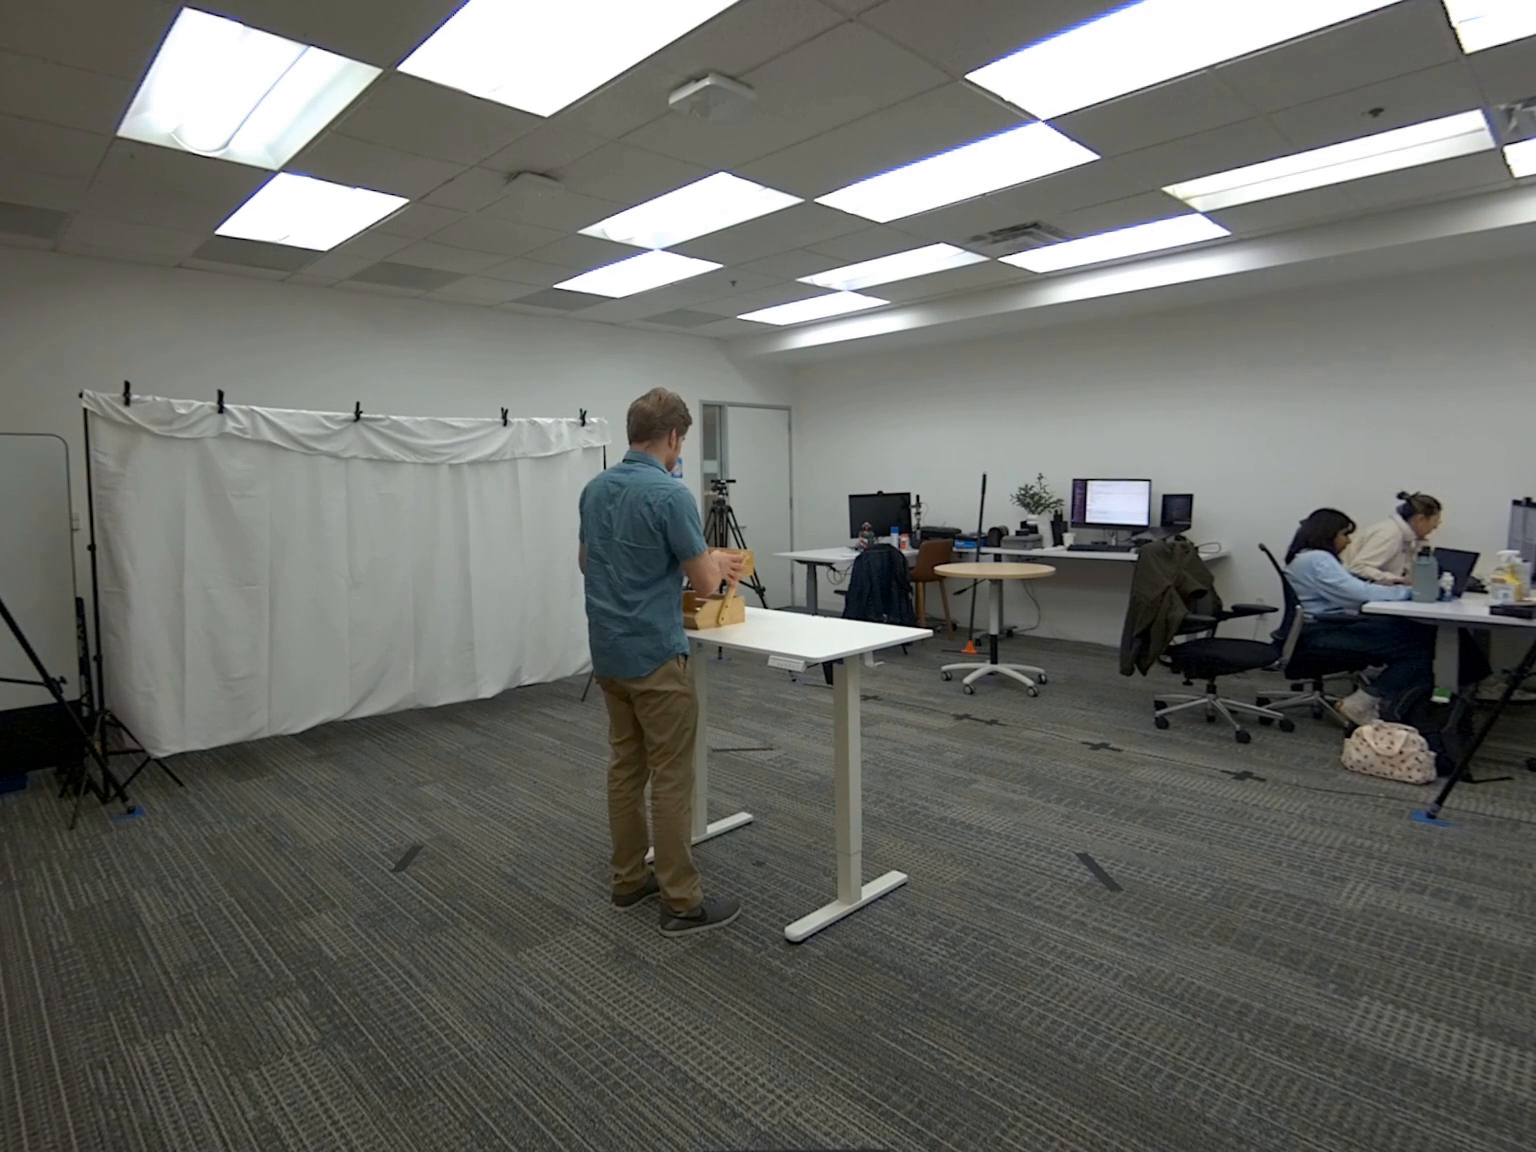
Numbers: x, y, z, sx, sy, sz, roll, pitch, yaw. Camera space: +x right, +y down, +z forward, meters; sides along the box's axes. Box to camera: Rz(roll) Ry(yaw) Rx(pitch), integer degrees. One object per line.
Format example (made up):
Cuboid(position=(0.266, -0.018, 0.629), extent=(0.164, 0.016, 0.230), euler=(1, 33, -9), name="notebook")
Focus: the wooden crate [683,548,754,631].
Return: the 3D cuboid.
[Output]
Cuboid(position=(-0.259, 0.035, 3.131), extent=(0.334, 0.272, 0.294), euler=(3, 5, 43), name="wooden crate")
